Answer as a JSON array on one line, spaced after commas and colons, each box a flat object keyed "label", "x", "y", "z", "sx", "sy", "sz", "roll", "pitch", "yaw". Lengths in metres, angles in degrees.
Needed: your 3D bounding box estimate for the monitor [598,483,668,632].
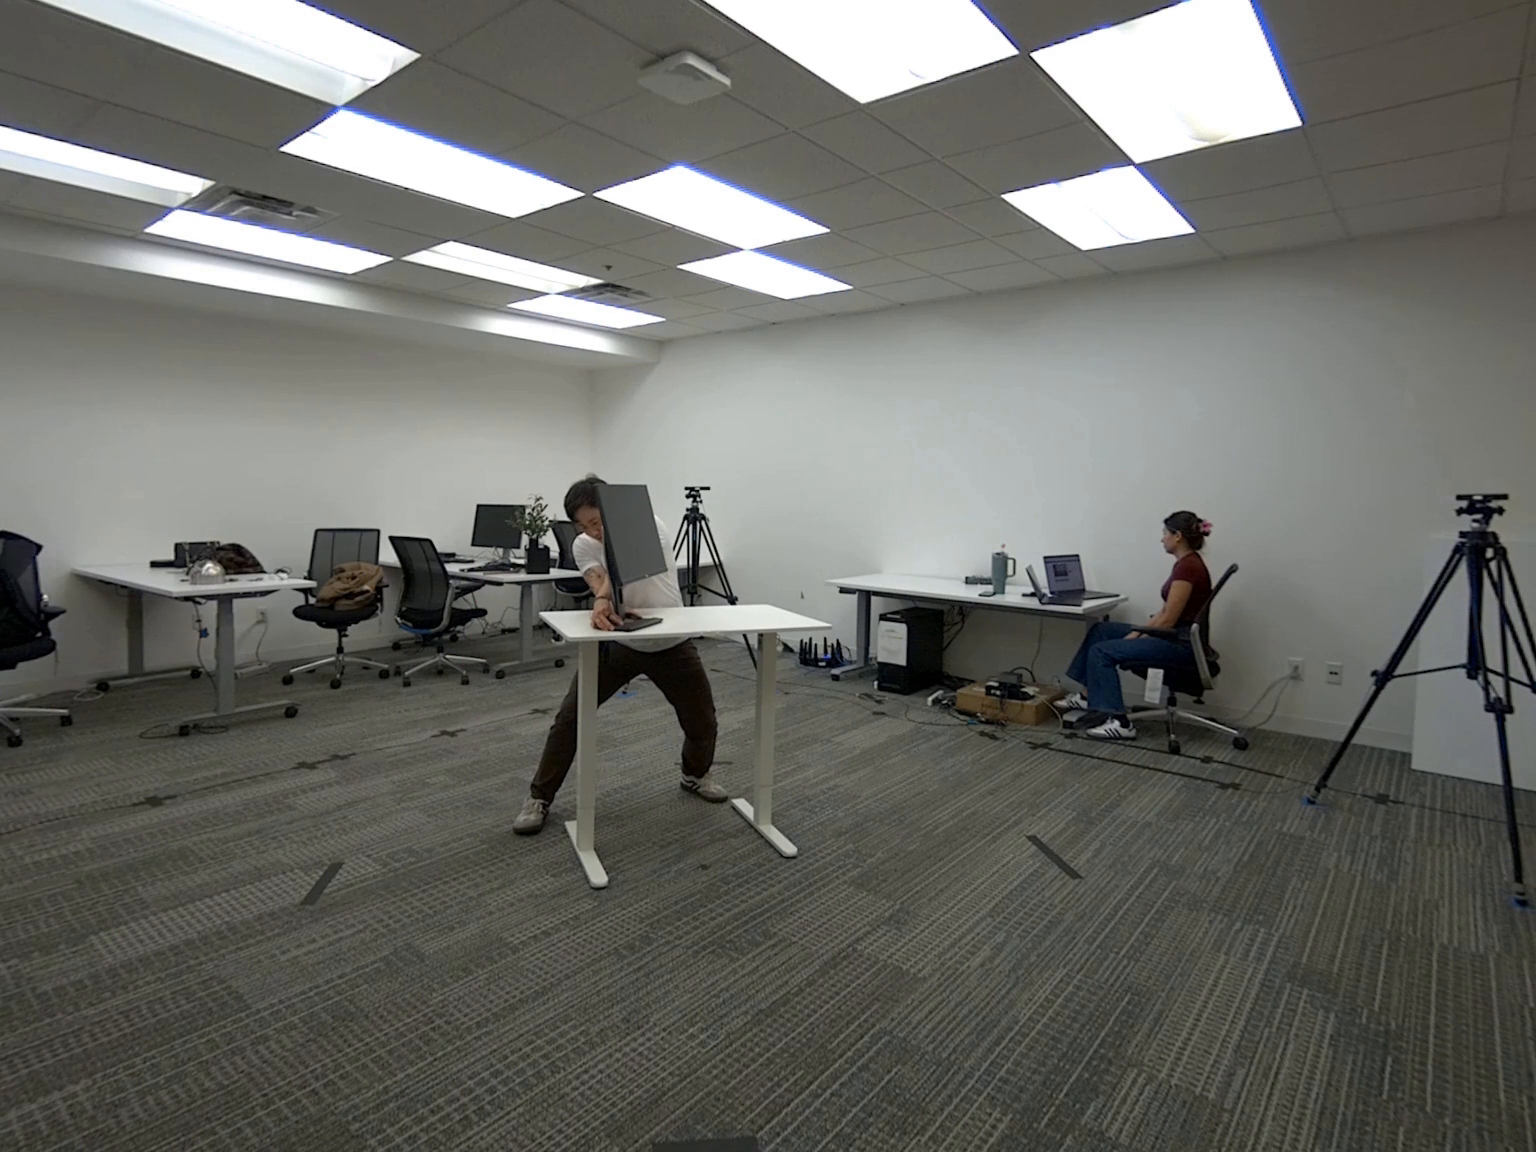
[{"label": "monitor", "x": -0.528, "y": -0.079, "z": 3.104, "sx": 0.189, "sy": 0.521, "sz": 0.534, "roll": 0, "pitch": 3, "yaw": 10}]
